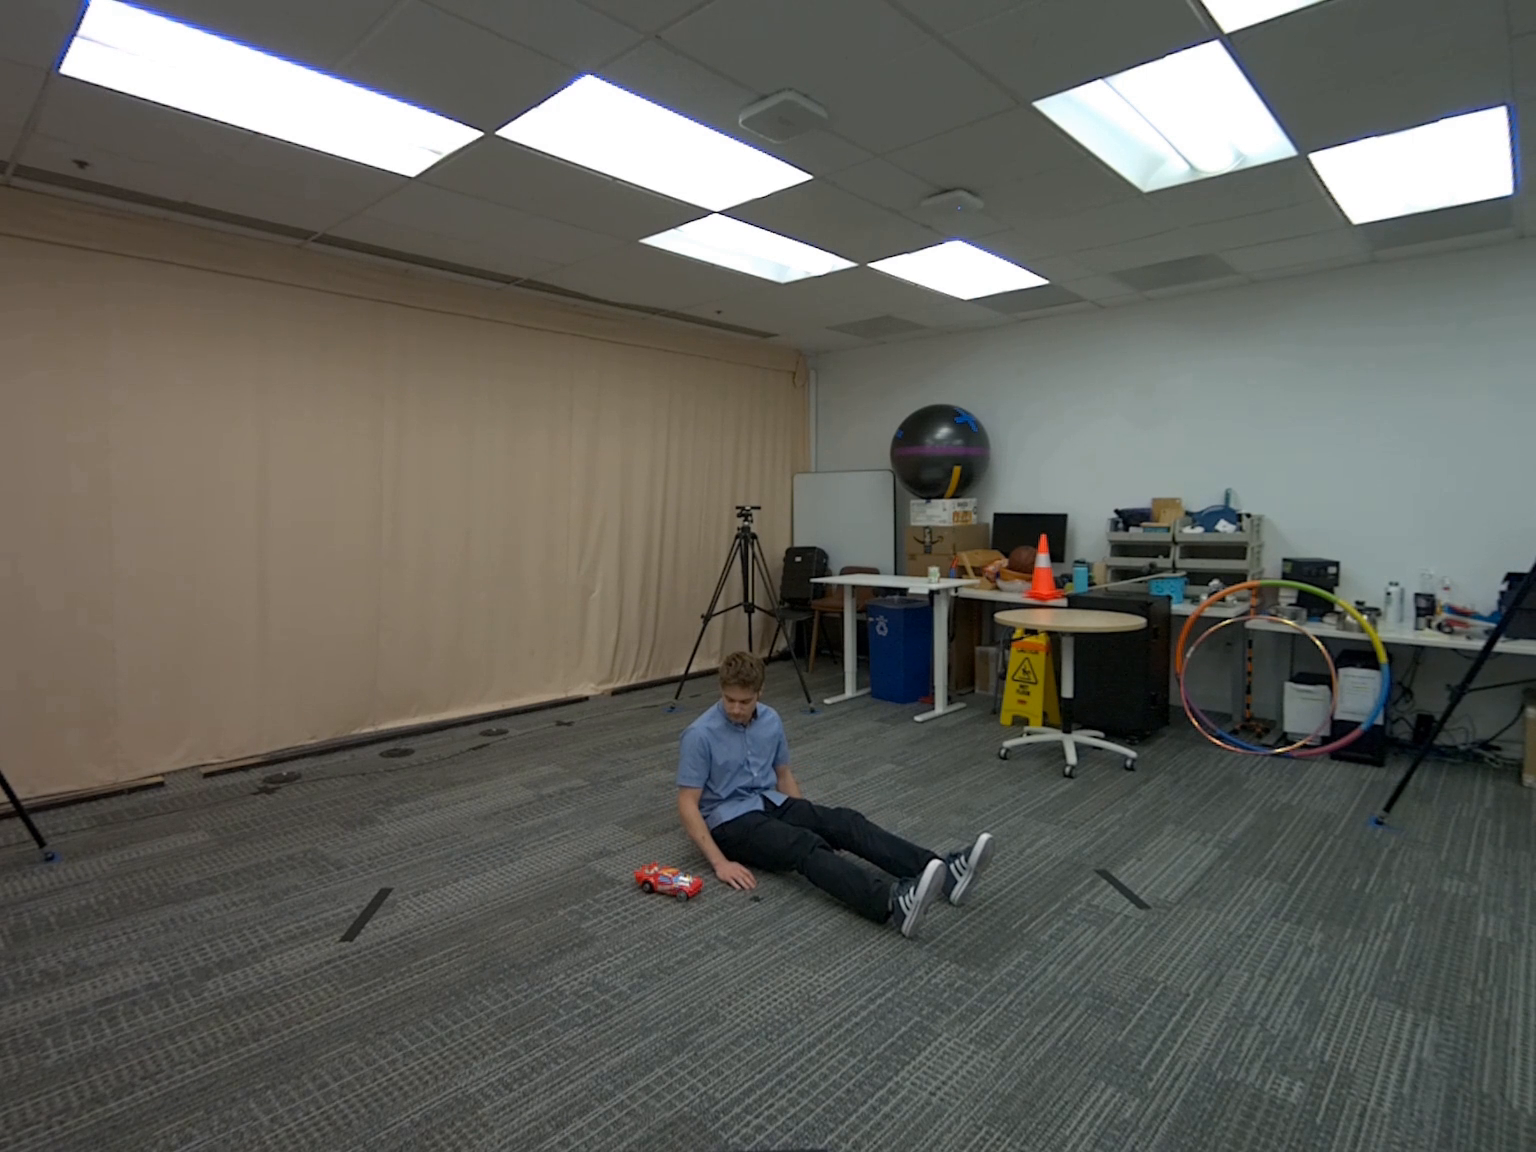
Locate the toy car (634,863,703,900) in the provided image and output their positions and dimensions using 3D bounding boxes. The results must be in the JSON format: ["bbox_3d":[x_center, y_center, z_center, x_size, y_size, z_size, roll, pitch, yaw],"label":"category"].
[{"bbox_3d":[-0.376,1.114,3.051,0.262,0.083,0.127,16,12,28],"label":"toy car"}]
